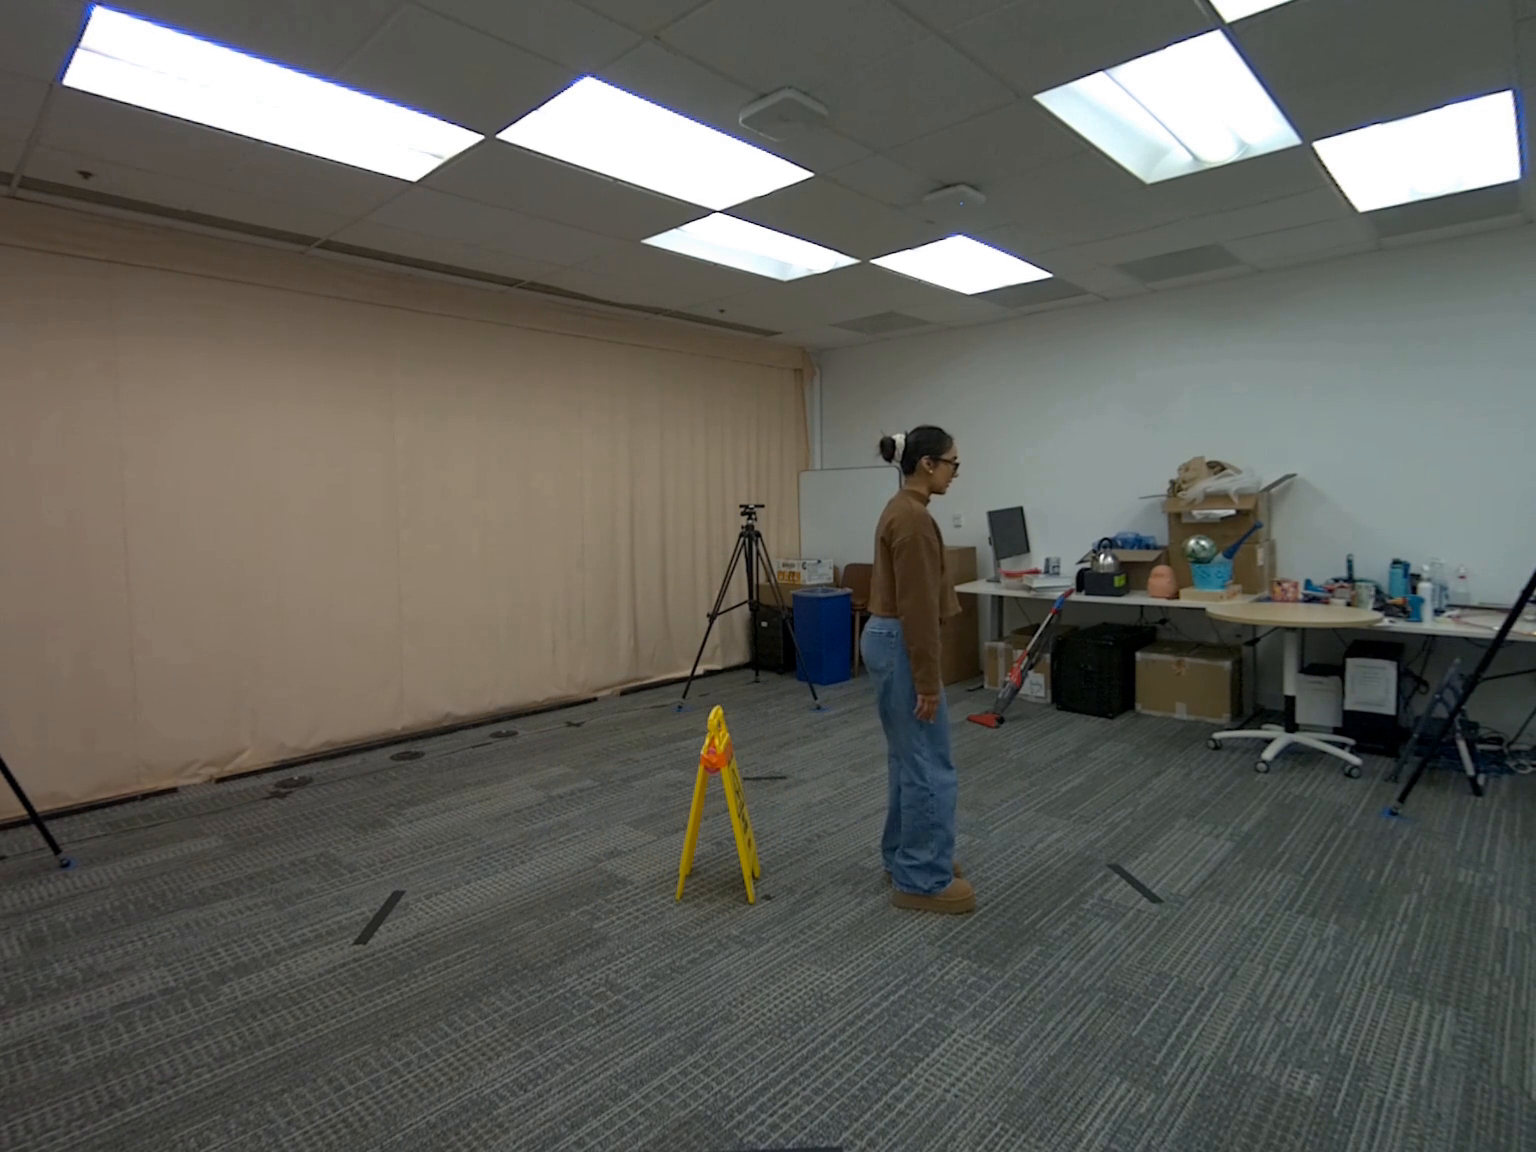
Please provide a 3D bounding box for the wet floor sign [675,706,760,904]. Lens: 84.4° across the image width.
[{"bbox_3d":[-0.183,0.821,3.063,0.292,0.645,0.281,-1,3,6],"label":"wet floor sign"}]
